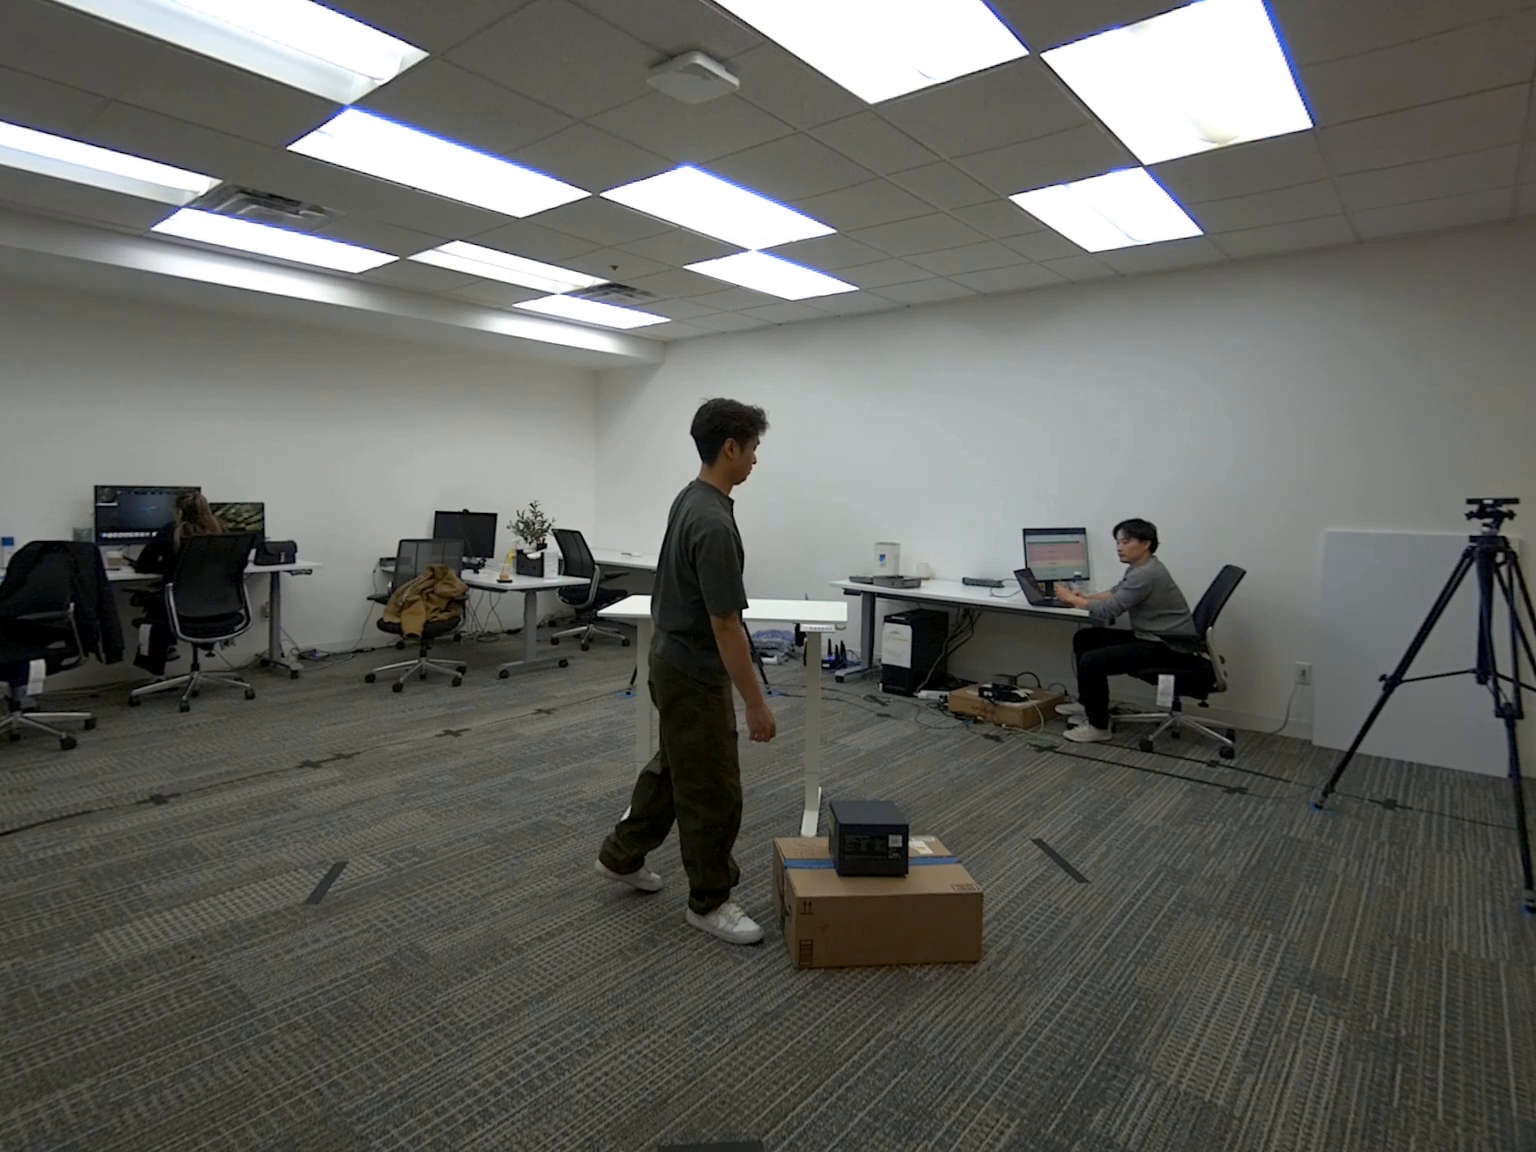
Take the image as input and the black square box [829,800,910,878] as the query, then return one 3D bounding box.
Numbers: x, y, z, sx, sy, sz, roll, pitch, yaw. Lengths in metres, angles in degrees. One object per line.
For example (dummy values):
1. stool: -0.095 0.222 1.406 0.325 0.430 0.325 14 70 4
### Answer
1. black square box: 0.307 0.818 2.689 0.216 0.155 0.229 1 4 -3
